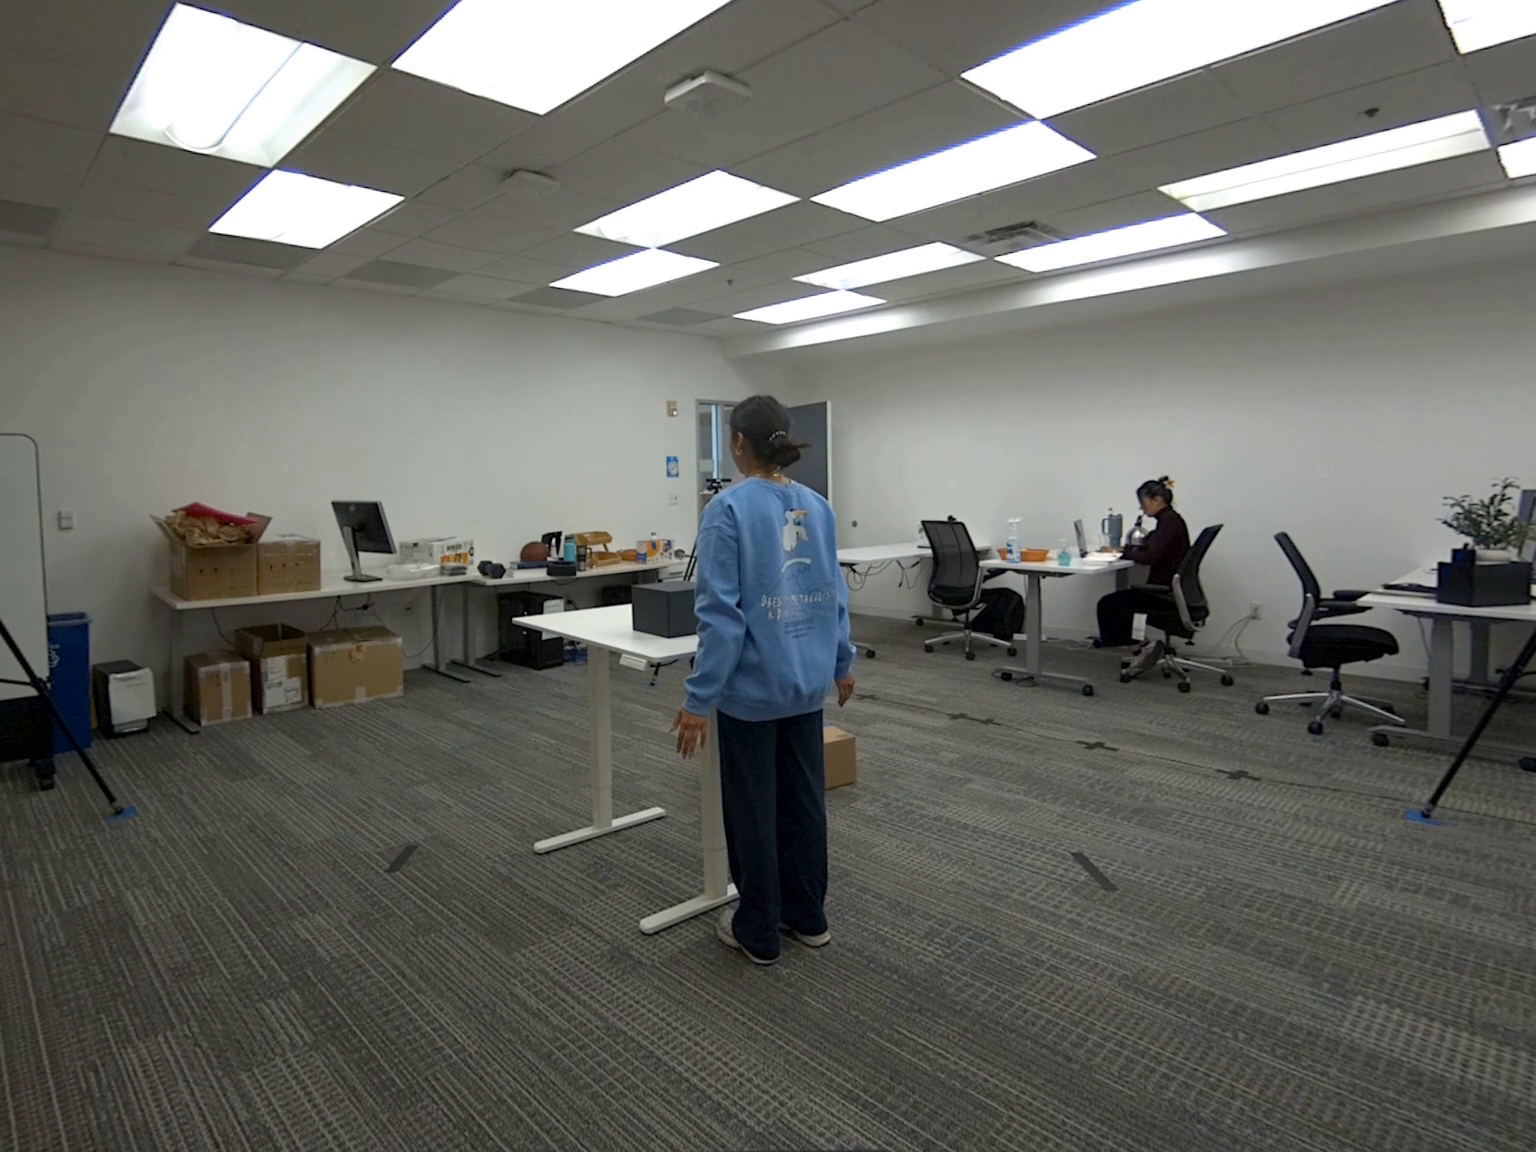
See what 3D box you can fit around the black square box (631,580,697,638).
[{"bbox_3d":[-0.313,0.110,2.920,0.211,0.155,0.235,-5,6,-39],"label":"black square box"}]
